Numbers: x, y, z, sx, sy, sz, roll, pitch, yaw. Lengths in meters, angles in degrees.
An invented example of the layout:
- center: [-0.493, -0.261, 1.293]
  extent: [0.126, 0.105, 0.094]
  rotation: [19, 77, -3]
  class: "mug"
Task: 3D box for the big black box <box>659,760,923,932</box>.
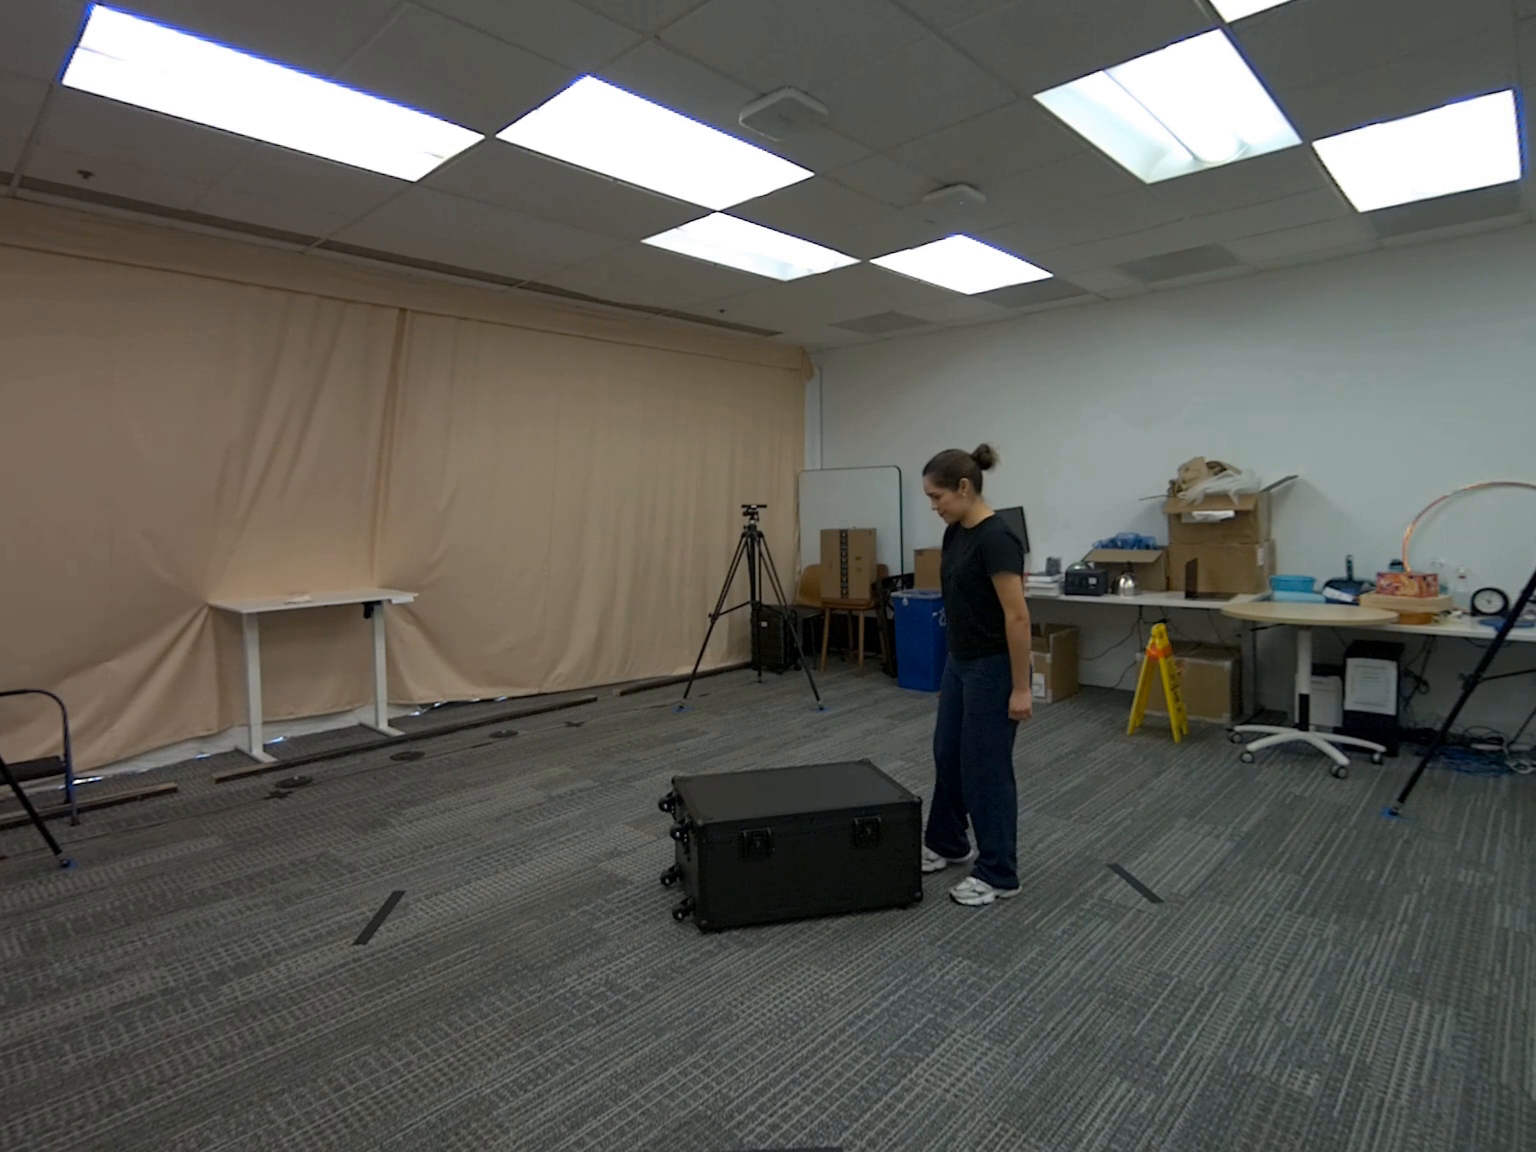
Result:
- center: [0.071, 0.944, 3.018]
  extent: [0.849, 0.395, 0.530]
  rotation: [-2, 4, -14]
  class: "big black box"
